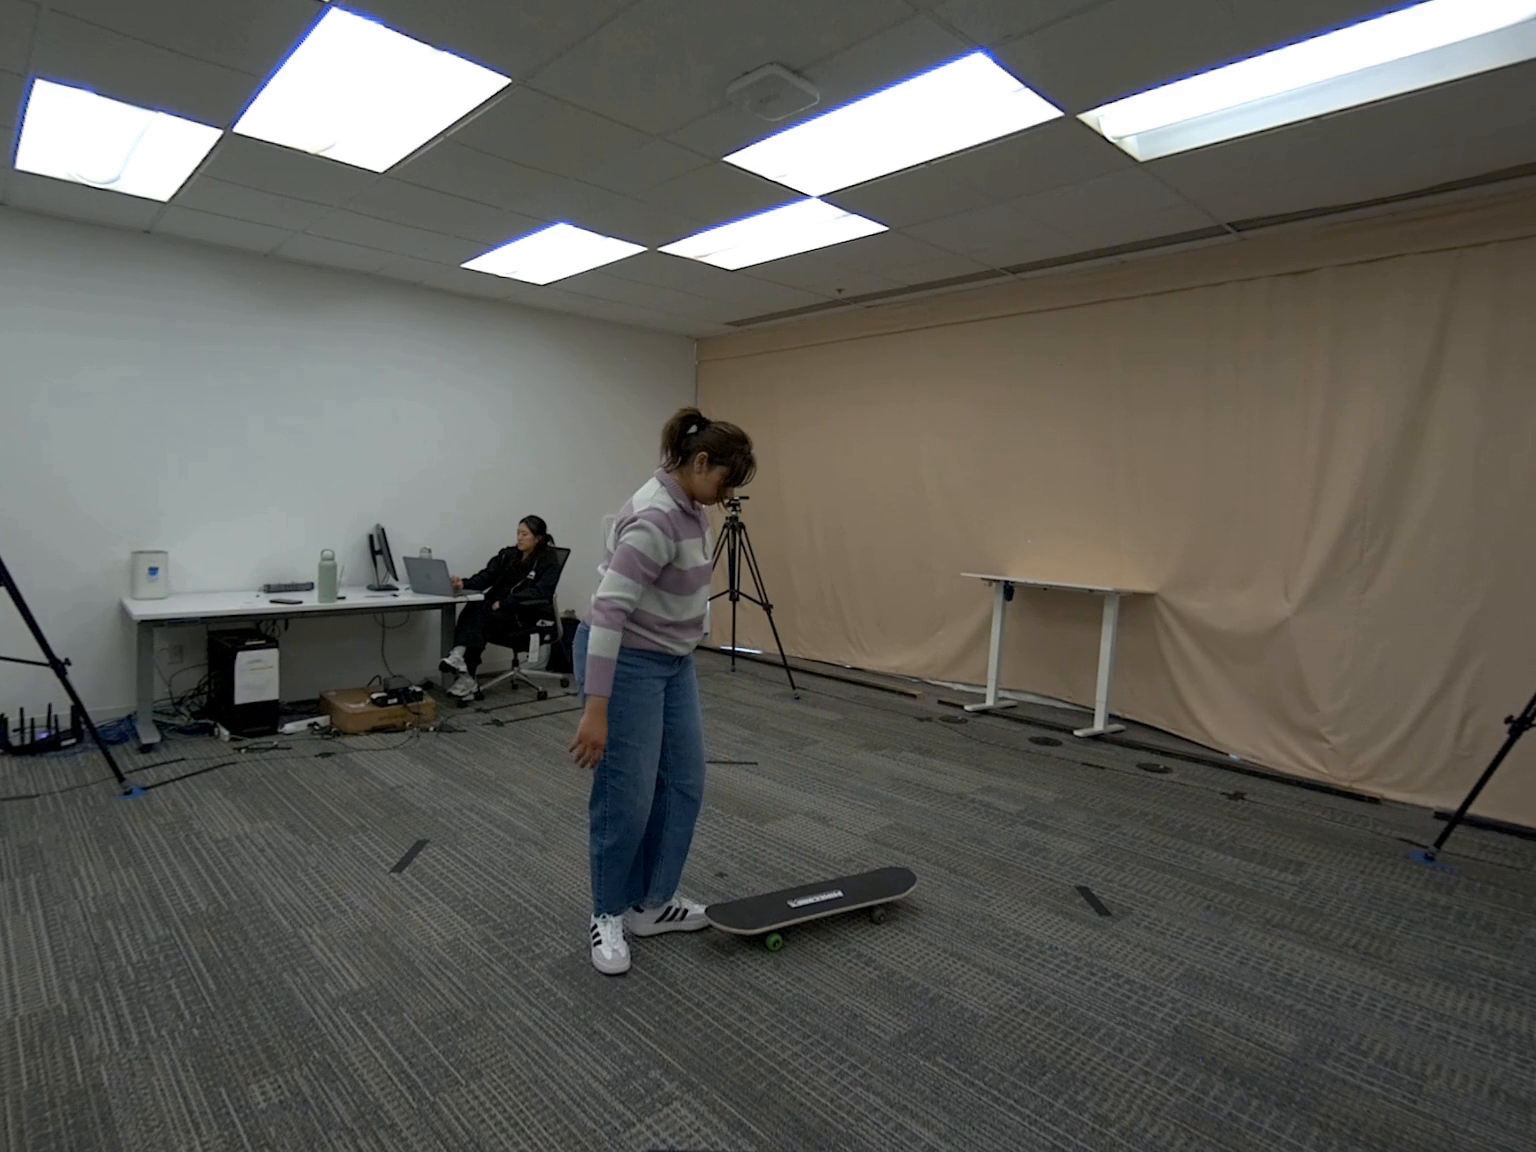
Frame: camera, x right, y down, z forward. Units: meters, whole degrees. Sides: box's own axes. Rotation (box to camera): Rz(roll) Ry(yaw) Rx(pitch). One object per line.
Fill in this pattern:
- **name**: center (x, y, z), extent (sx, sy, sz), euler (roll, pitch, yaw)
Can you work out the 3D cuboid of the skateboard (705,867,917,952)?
- **skateboard**: center (0.155, 1.084, 2.747), extent (0.770, 0.110, 0.198), euler (-2, 6, -28)
